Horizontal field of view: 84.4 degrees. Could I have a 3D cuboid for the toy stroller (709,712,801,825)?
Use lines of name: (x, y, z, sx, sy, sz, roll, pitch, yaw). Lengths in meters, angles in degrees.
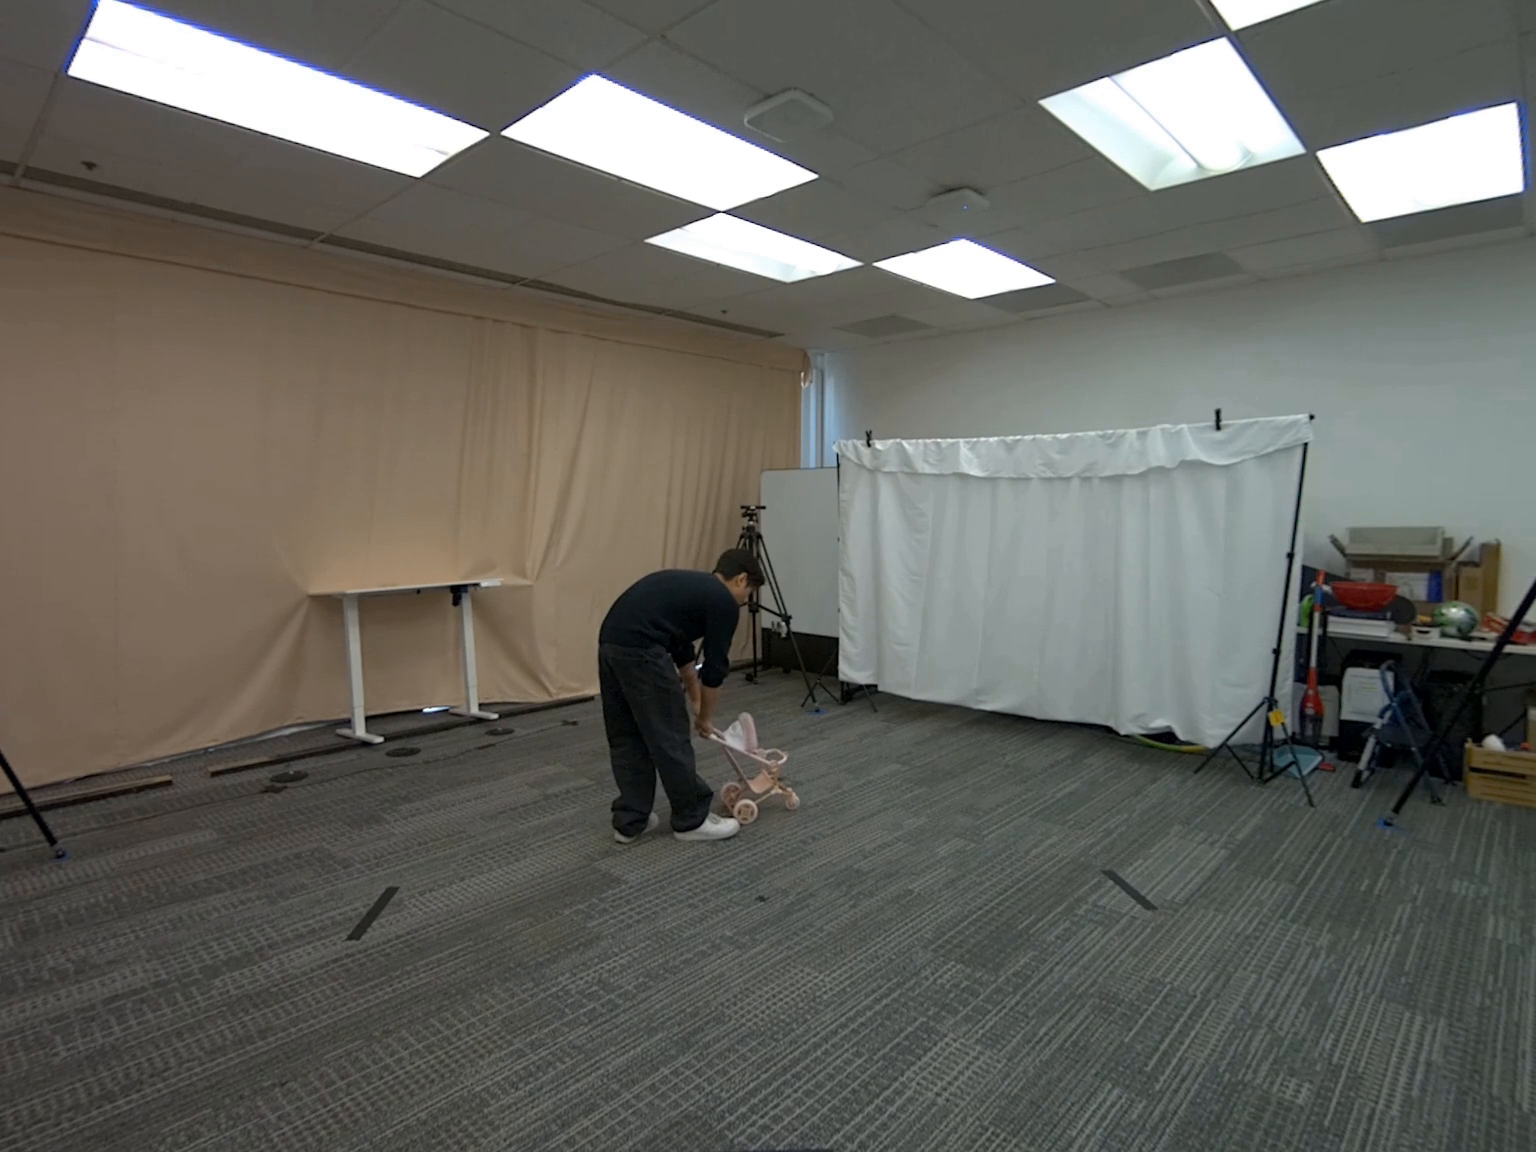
toy stroller: (-0.075, 0.855, 3.804, 0.339, 0.532, 0.285, -18, 6, -9)
